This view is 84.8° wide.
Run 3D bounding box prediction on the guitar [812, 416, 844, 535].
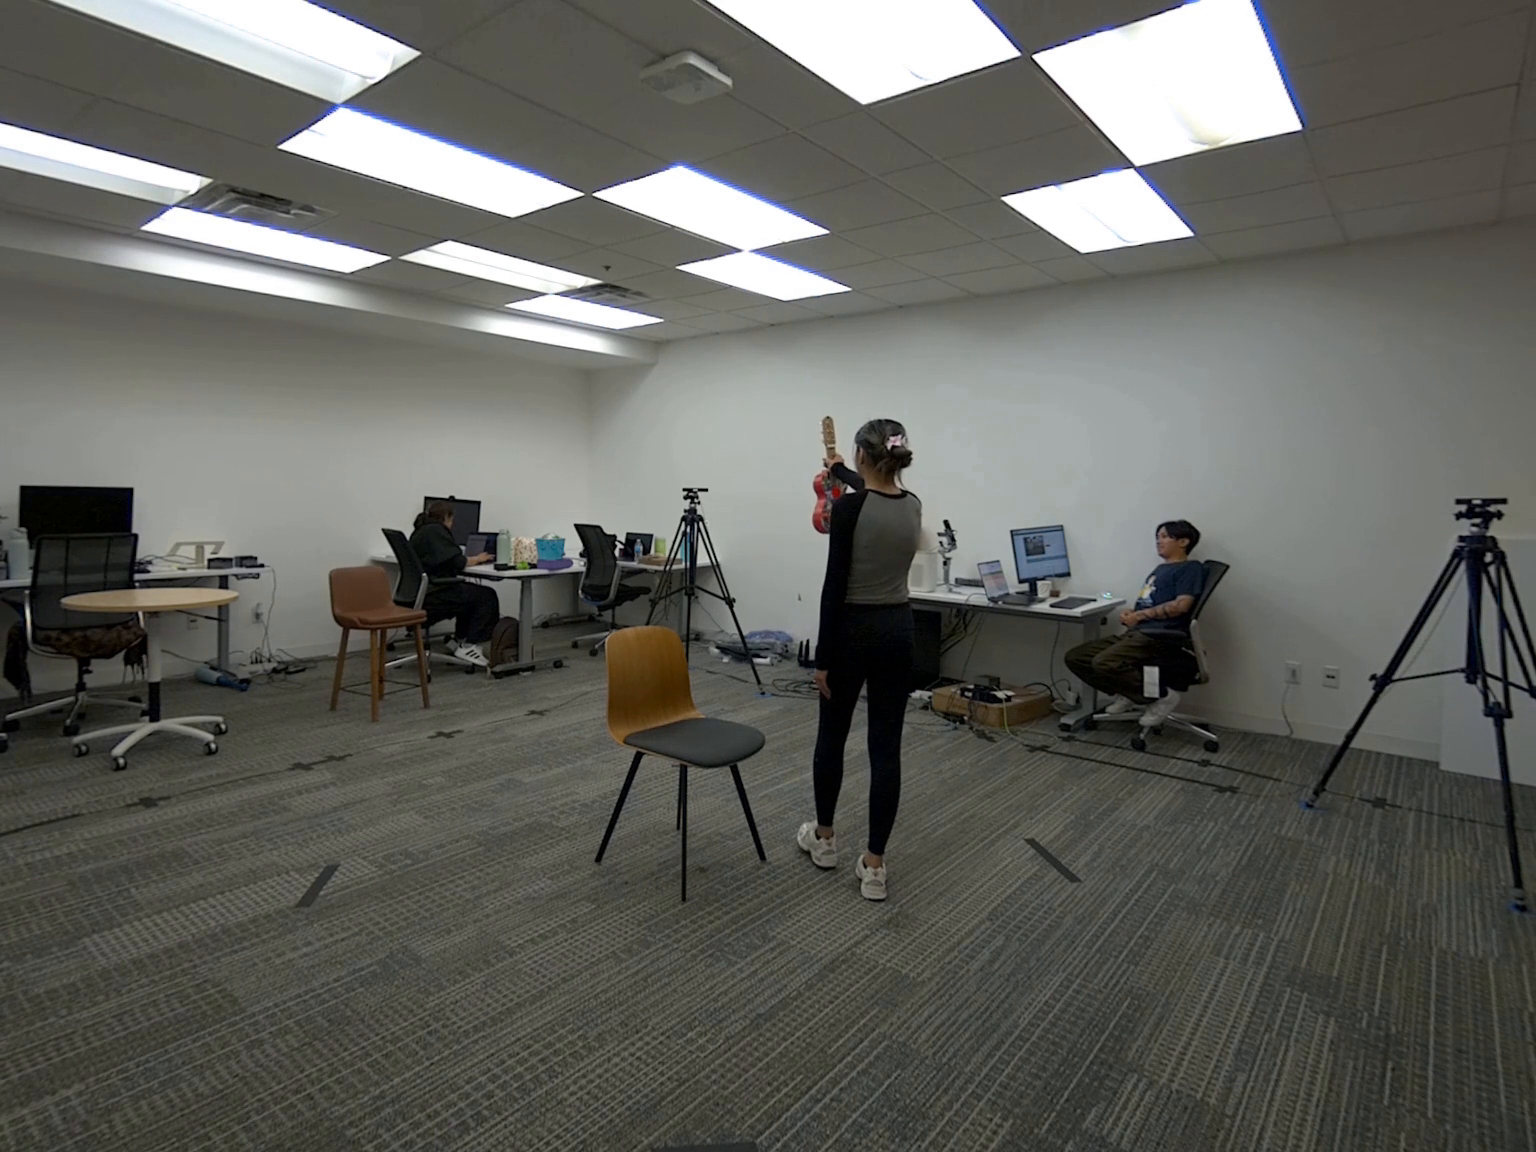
[{"bbox_3d":[0.284,-0.444,3.668,0.188,0.500,0.072,4,-6,-28],"label":"guitar"}]
